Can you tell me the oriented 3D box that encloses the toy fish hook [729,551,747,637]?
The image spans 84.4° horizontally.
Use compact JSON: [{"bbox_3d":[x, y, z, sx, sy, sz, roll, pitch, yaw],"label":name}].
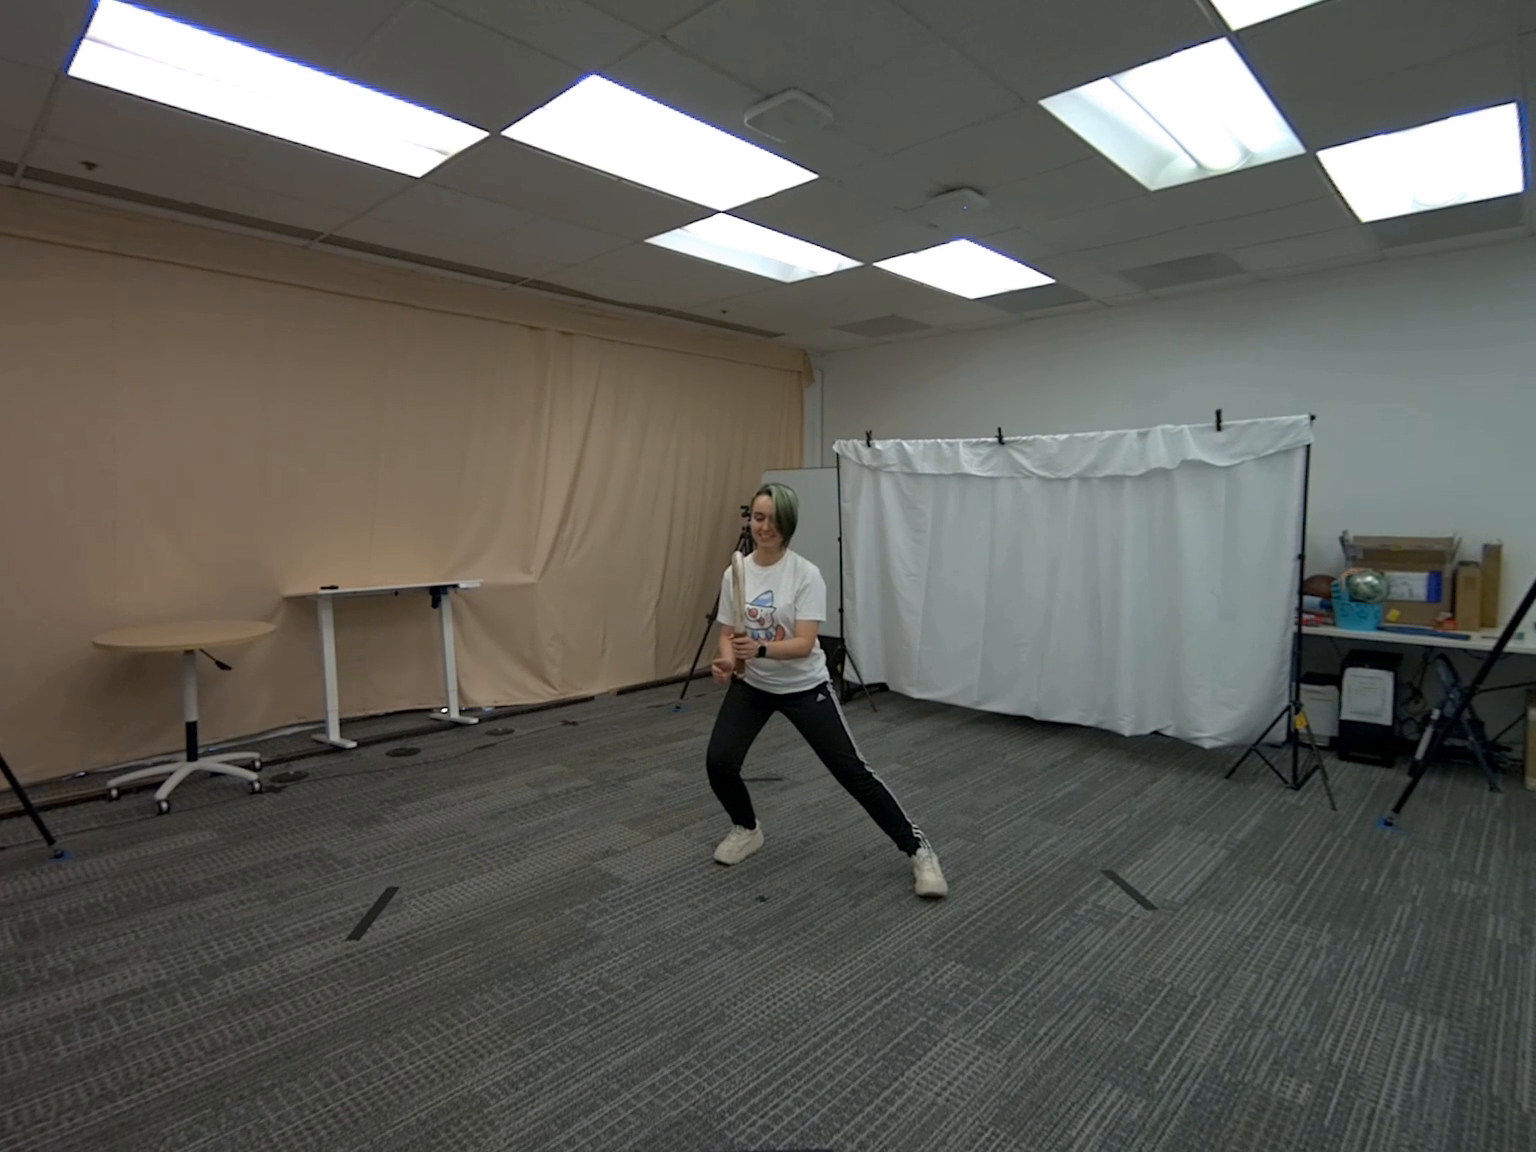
[{"bbox_3d":[-0.096,0.160,2.863,0.048,0.499,0.227,0,26,0],"label":"toy fish hook"}]
